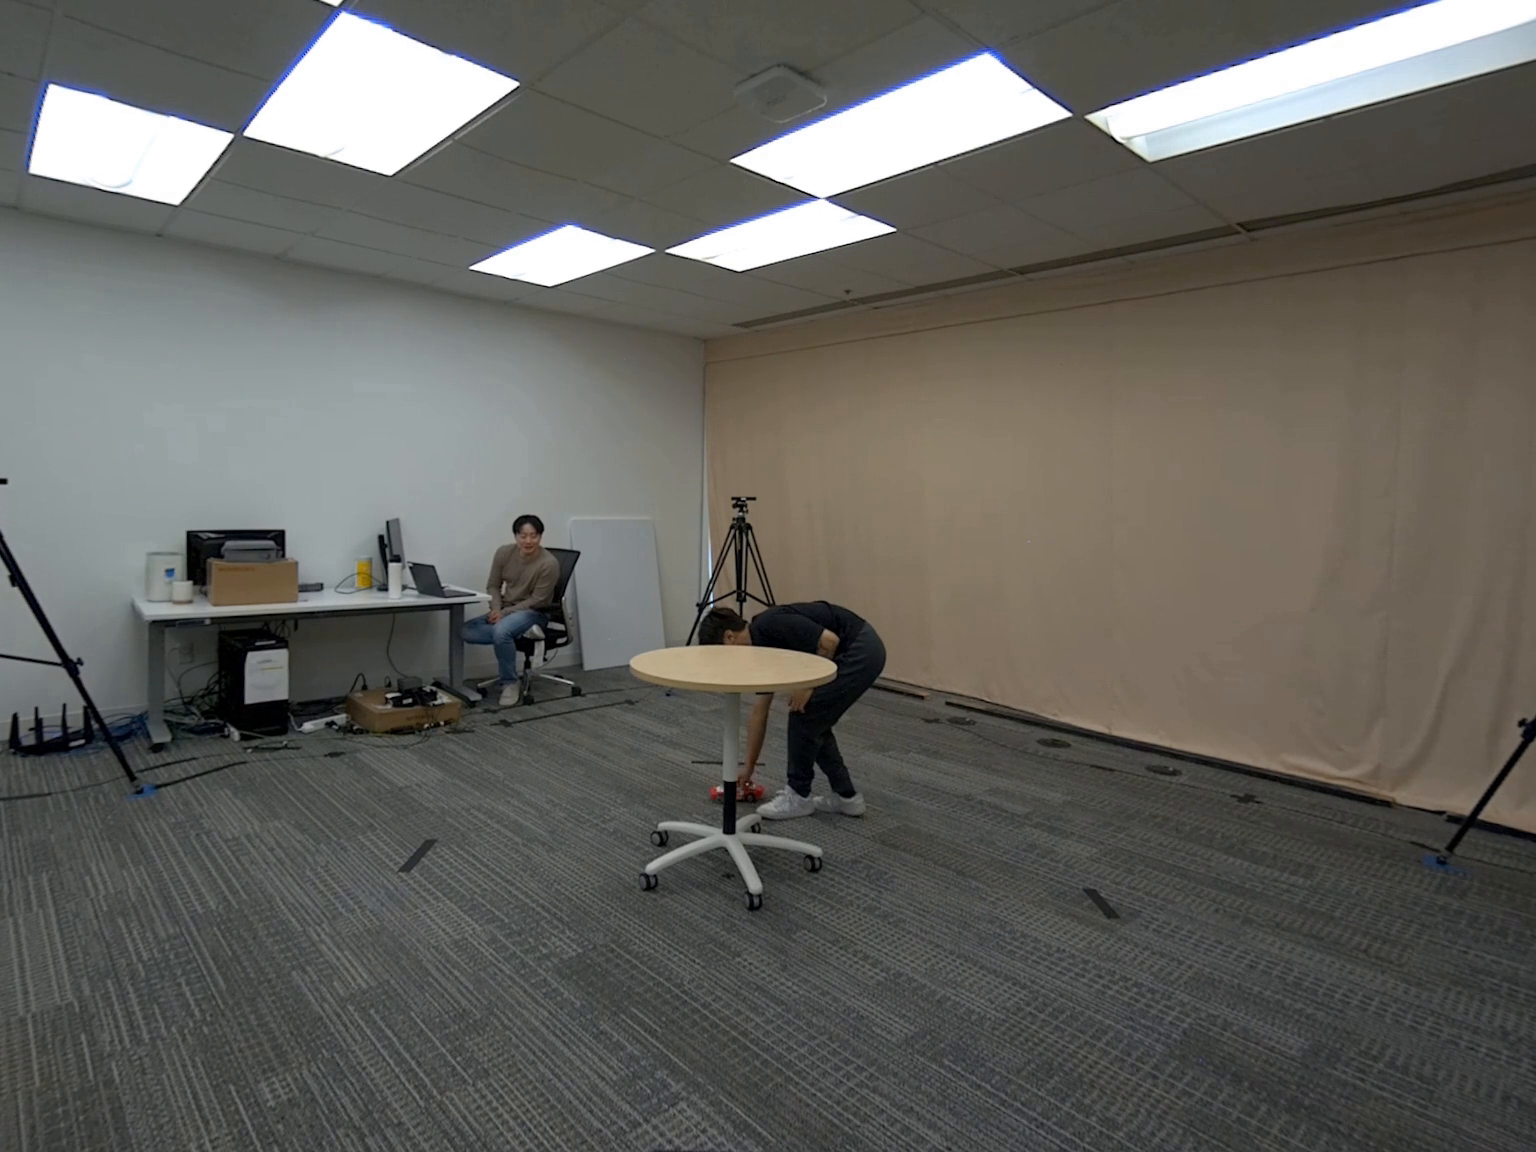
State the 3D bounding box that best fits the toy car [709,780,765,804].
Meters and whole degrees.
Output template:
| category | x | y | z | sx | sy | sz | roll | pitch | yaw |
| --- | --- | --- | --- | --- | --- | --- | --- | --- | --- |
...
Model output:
| category | x | y | z | sx | sy | sz | roll | pitch | yaw |
| --- | --- | --- | --- | --- | --- | --- | --- | --- | --- |
| toy car | -0.149 | 1.002 | 3.911 | 0.253 | 0.083 | 0.131 | -10 | 5 | -7 |
